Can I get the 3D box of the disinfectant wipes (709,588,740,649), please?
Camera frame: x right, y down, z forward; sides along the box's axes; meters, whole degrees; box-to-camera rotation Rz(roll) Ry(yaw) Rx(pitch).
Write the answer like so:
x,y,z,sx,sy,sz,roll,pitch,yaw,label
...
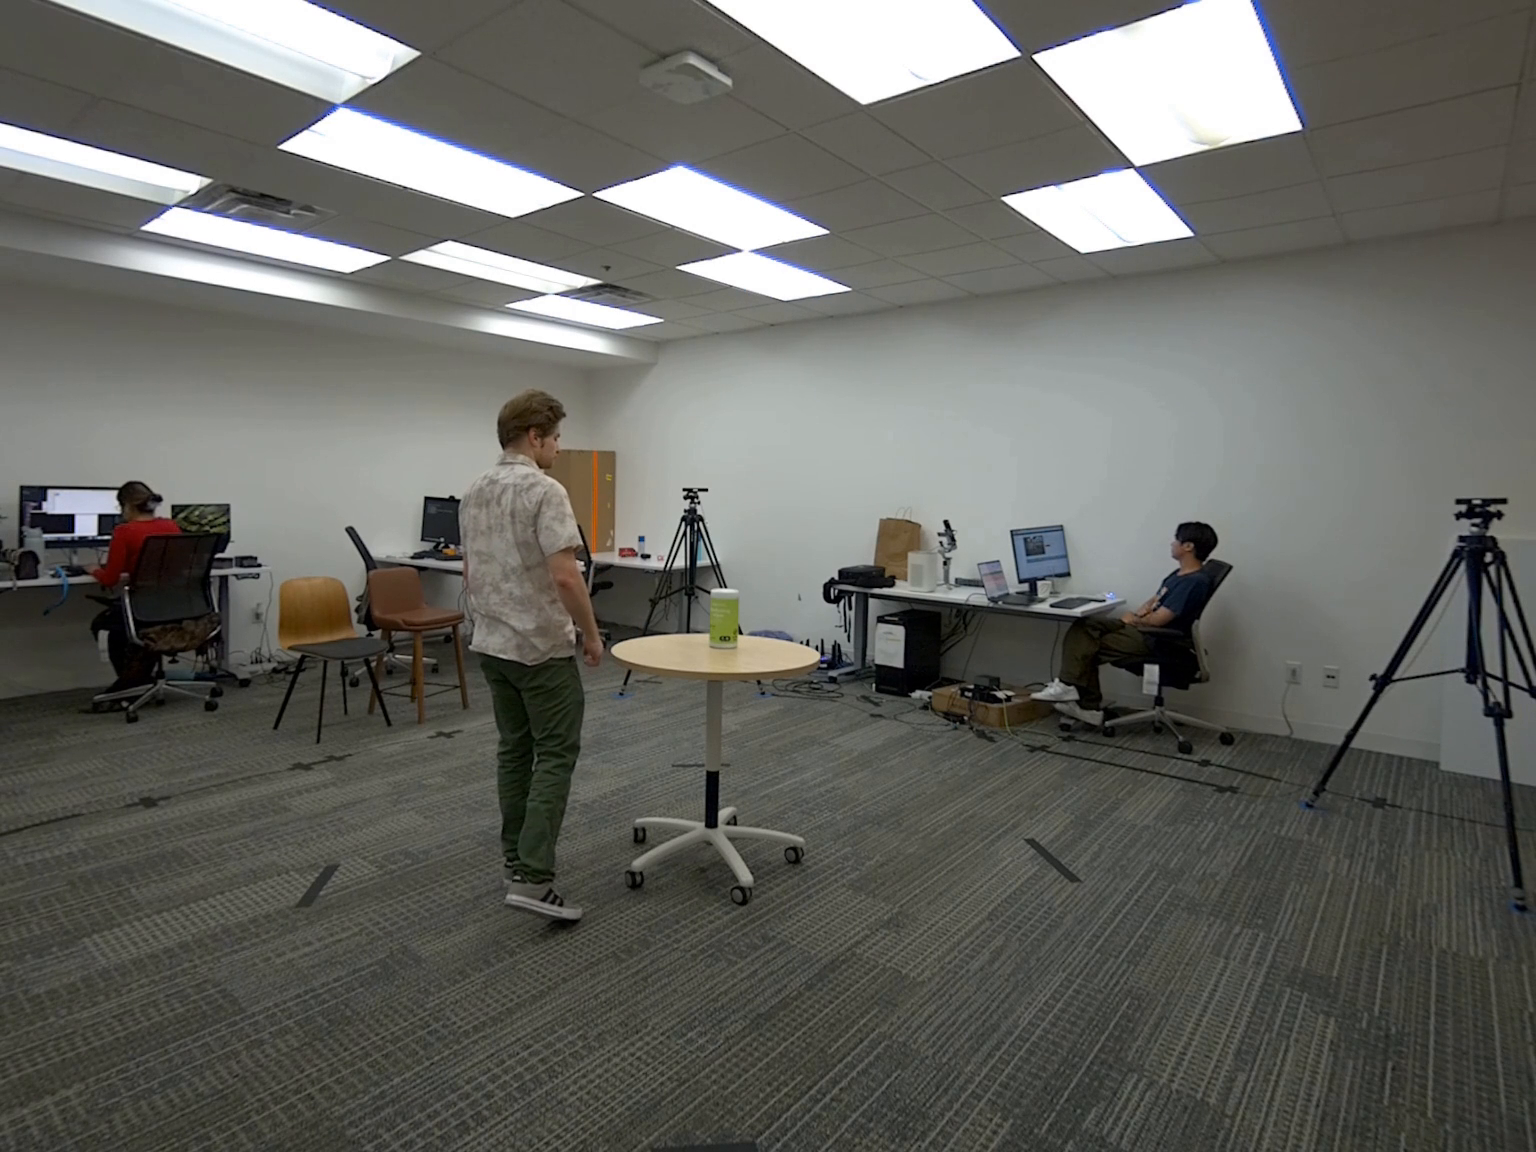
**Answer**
x,y,z,sx,sy,sz,roll,pitch,yaw,label
-0.182,0.161,3.215,0.117,0.217,0.118,1,3,-2,disinfectant wipes
